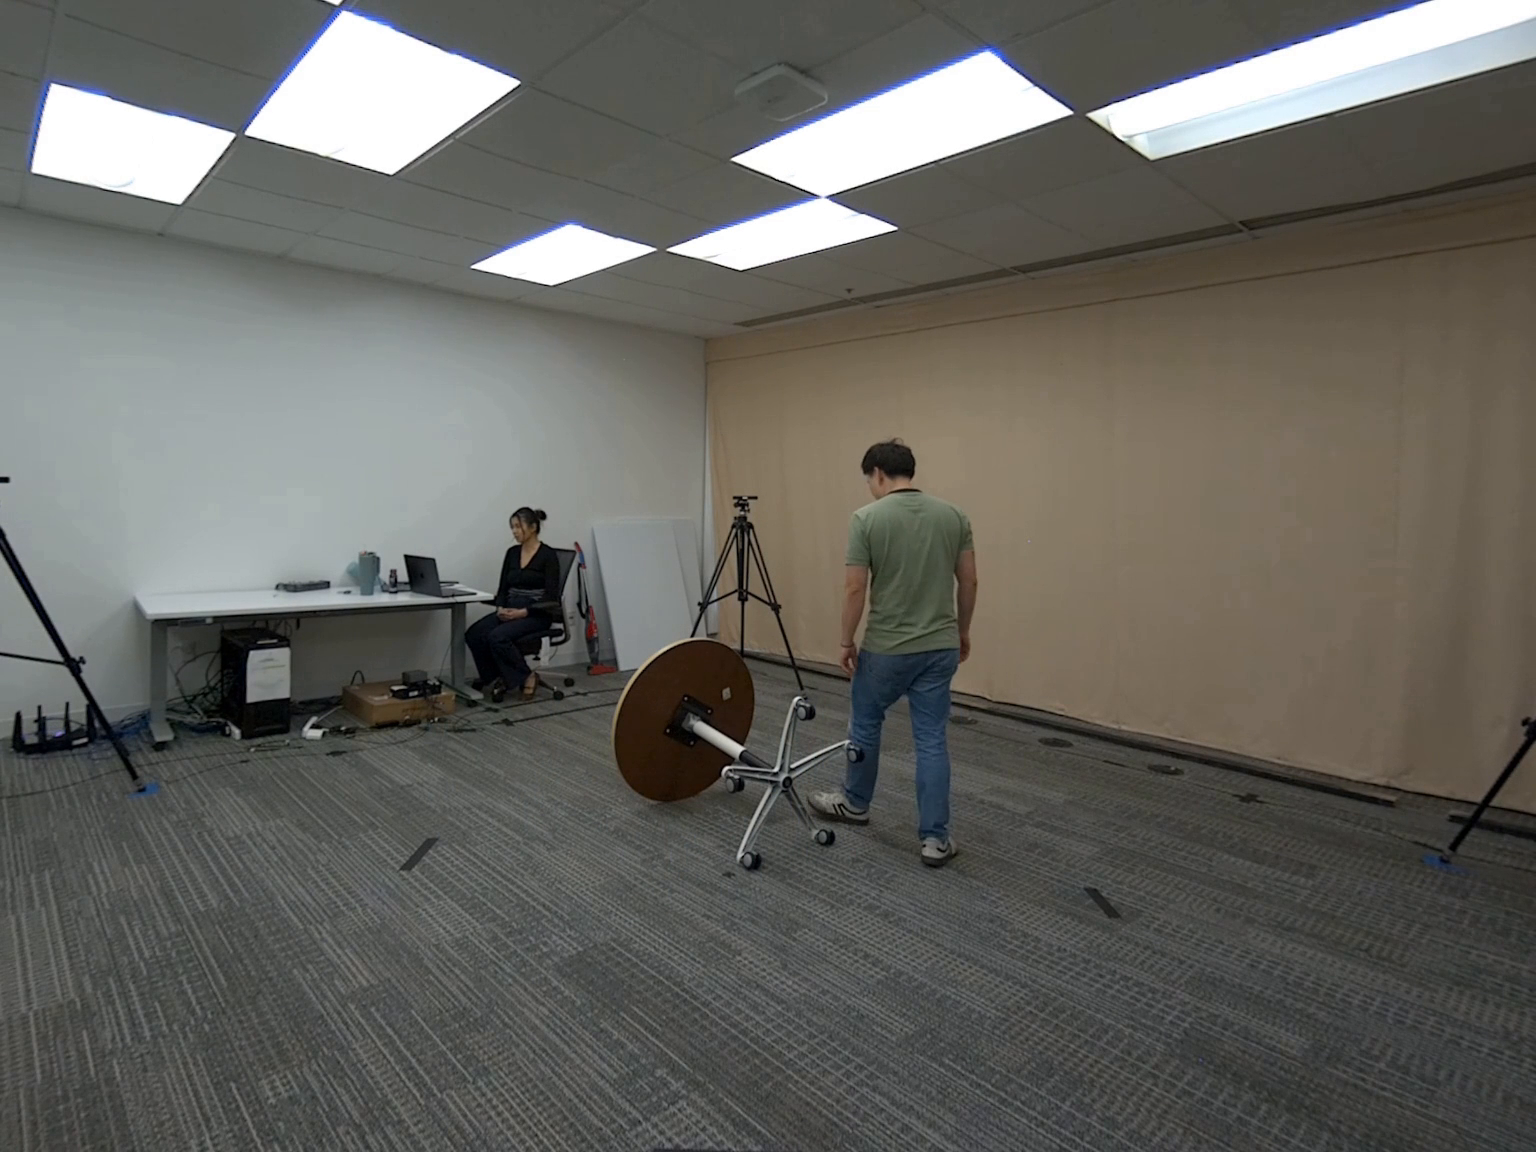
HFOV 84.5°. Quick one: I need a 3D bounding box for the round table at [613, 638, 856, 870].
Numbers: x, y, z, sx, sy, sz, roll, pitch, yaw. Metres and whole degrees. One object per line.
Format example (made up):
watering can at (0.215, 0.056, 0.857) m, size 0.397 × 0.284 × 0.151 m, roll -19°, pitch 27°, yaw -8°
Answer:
round table at (-0.135, 0.735, 3.515) m, size 0.747 × 0.759 × 0.817 m, roll -2°, pitch 13°, yaw -39°
